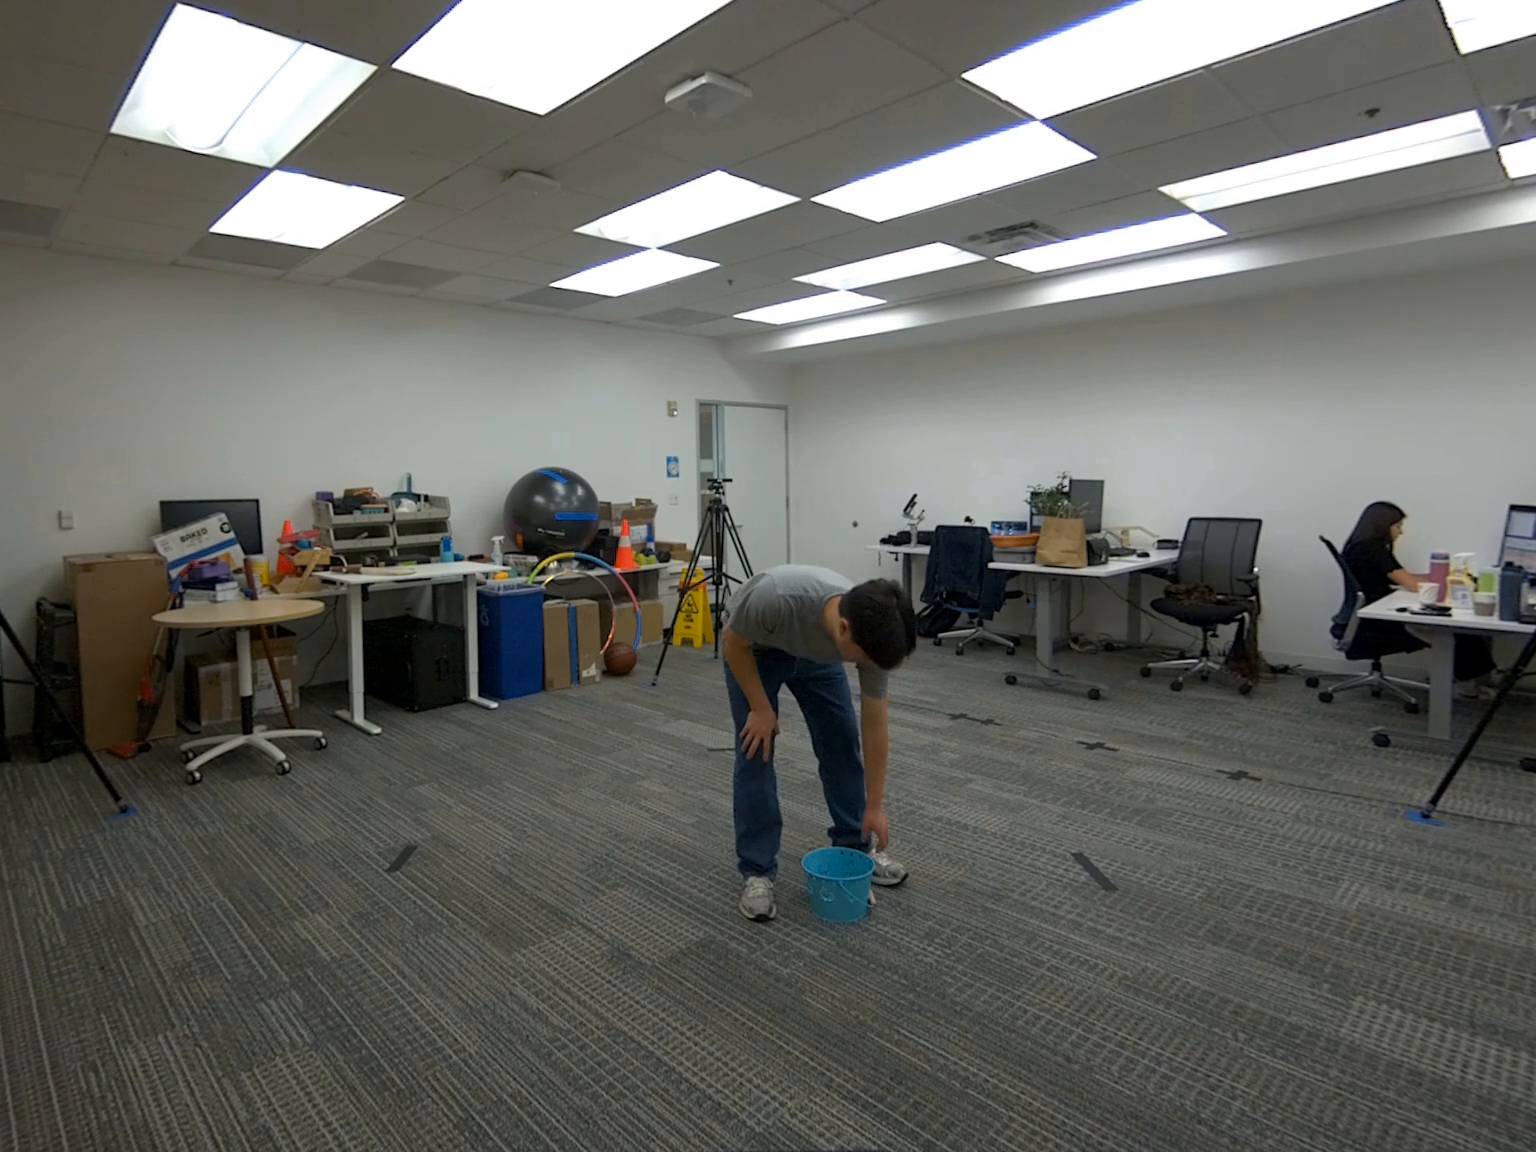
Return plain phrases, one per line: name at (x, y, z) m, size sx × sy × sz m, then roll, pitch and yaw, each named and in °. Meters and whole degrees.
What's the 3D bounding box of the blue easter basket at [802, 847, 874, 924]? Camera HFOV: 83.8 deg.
blue easter basket at (0.240, 1.005, 2.758) m, size 0.243 × 0.155 × 0.245 m, roll -2°, pitch 6°, yaw -2°
